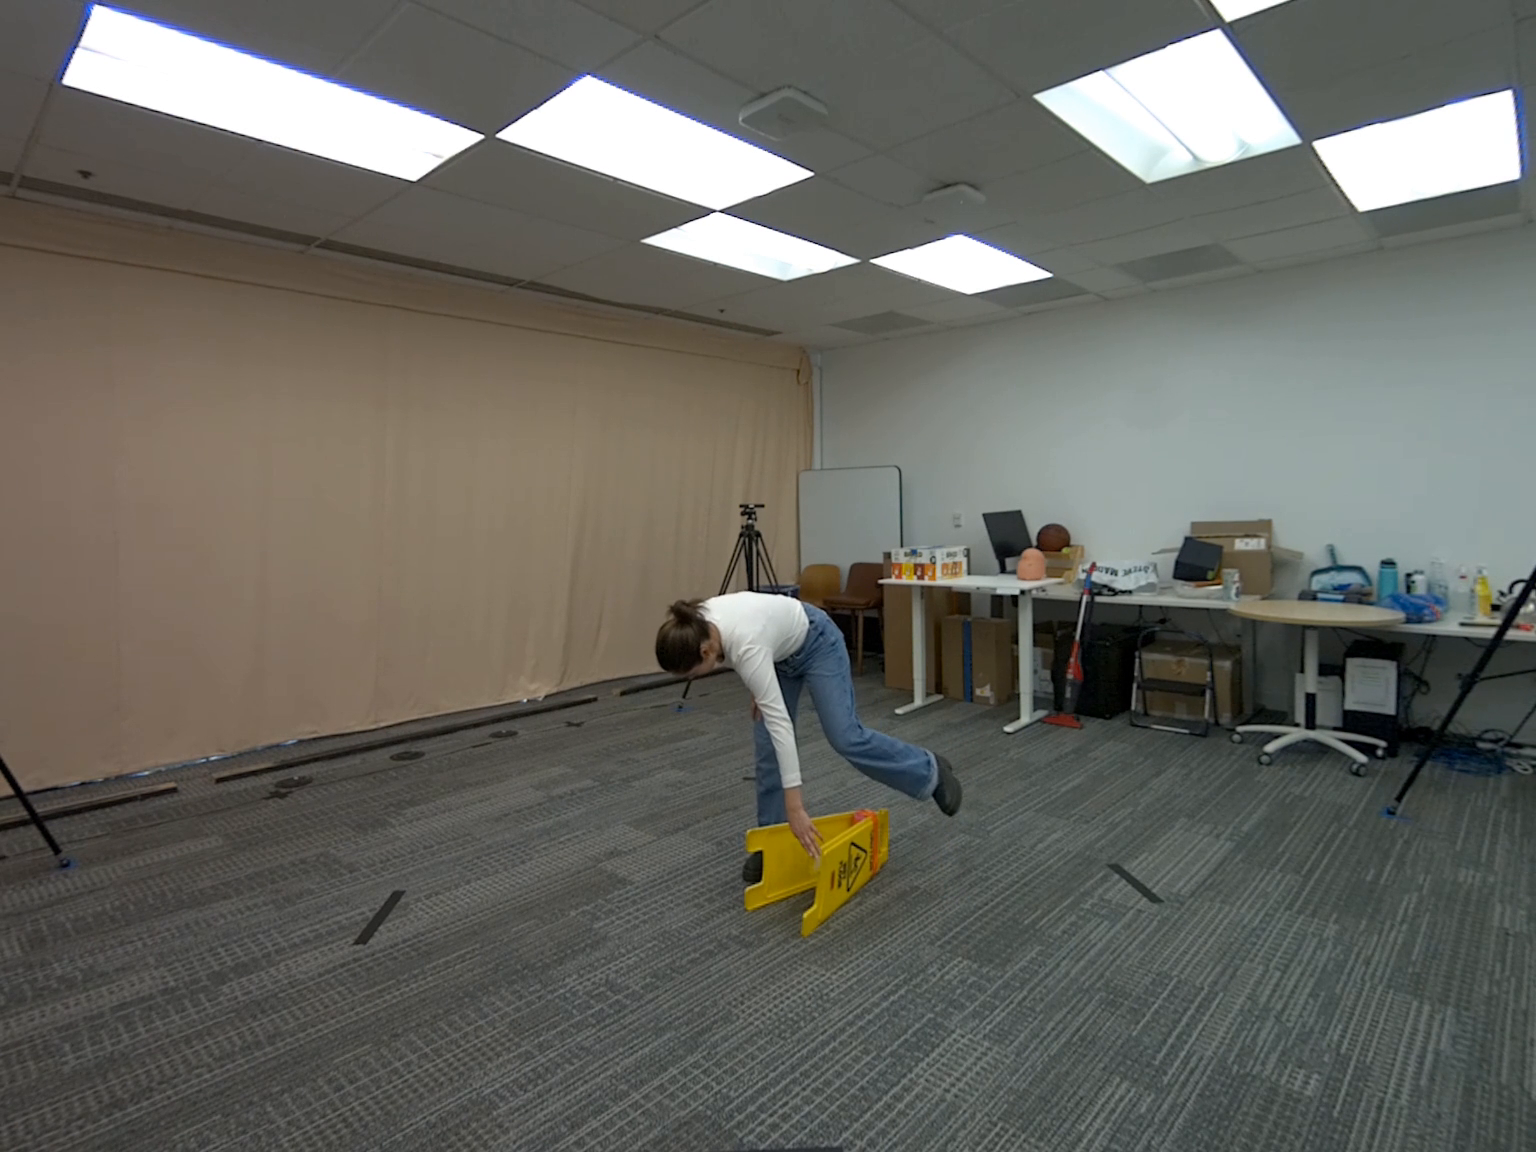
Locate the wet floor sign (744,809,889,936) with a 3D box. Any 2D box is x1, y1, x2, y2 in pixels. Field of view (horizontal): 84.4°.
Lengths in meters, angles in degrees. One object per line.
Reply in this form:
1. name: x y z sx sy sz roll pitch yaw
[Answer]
1. wet floor sign: 0.241 1.002 3.010 0.300 0.281 0.626 6 6 44
